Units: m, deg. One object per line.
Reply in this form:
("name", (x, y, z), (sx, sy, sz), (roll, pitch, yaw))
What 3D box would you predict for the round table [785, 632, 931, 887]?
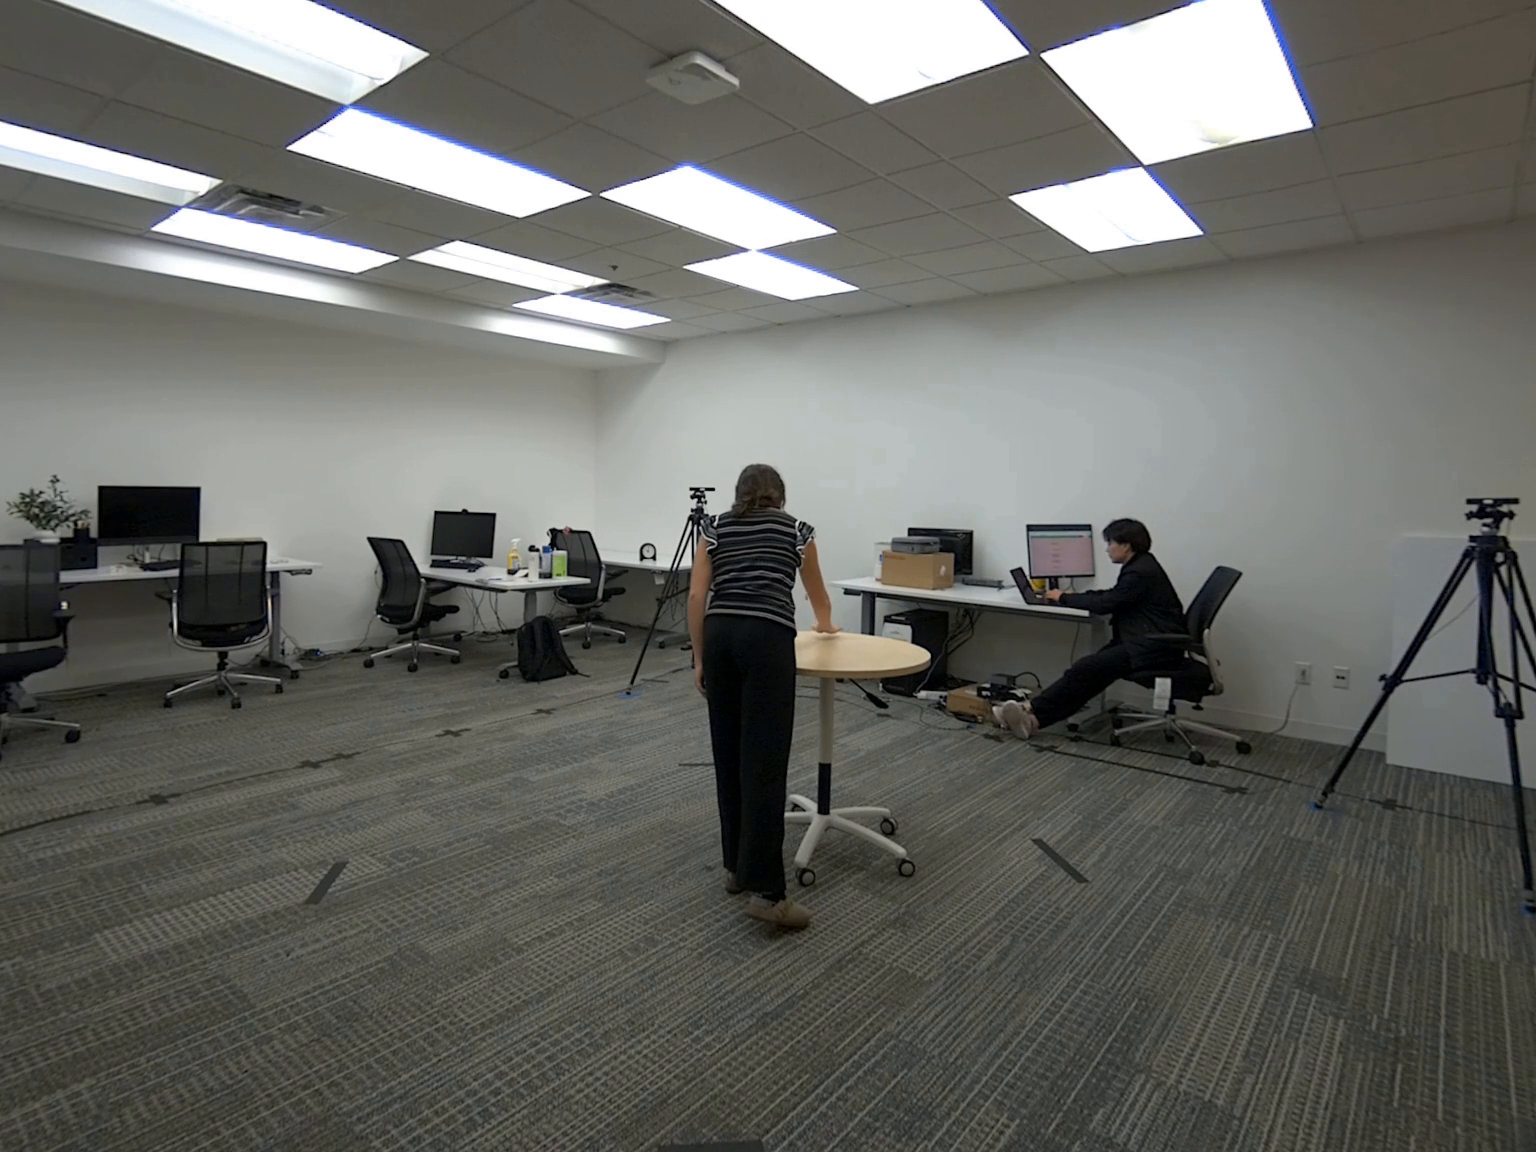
("round table", (0.217, 0.668, 3.298), (0.763, 0.791, 0.768), (1, 4, -2))
